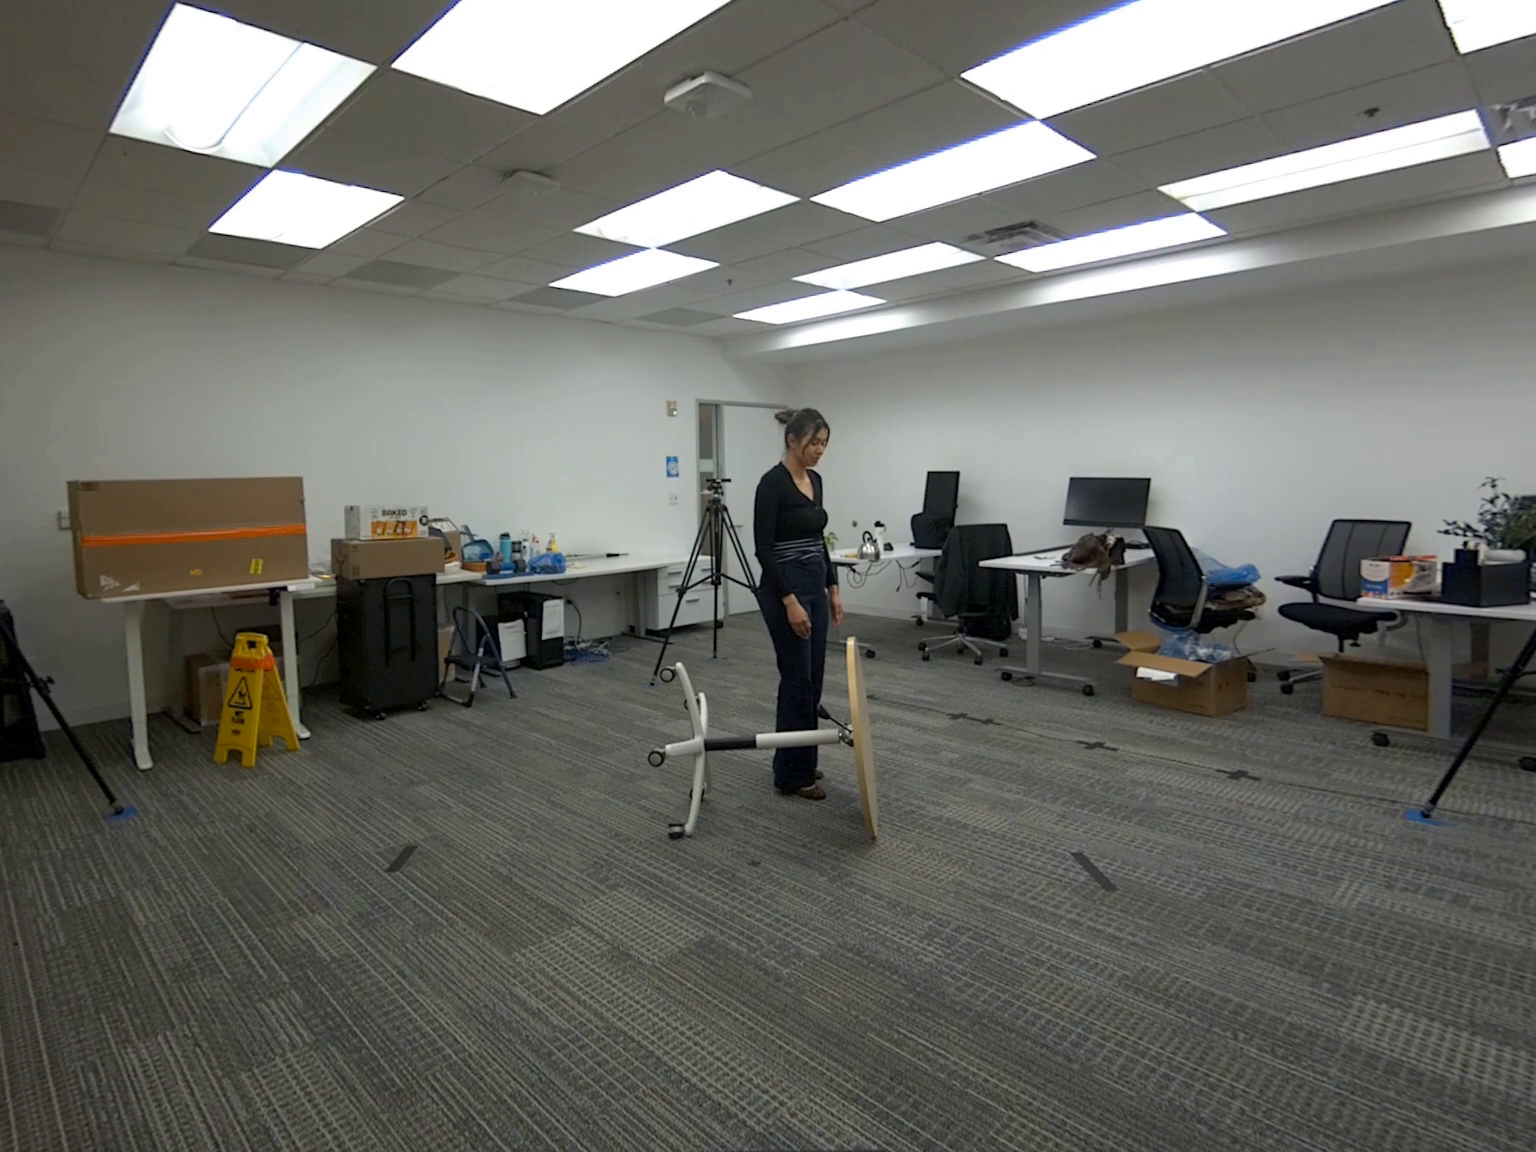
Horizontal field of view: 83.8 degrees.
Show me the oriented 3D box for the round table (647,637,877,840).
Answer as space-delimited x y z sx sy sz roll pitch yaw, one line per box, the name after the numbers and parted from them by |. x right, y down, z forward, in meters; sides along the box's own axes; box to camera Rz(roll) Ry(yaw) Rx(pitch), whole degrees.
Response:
-0.005 0.669 3.447 0.801 0.762 0.760 -6 4 9 | round table
